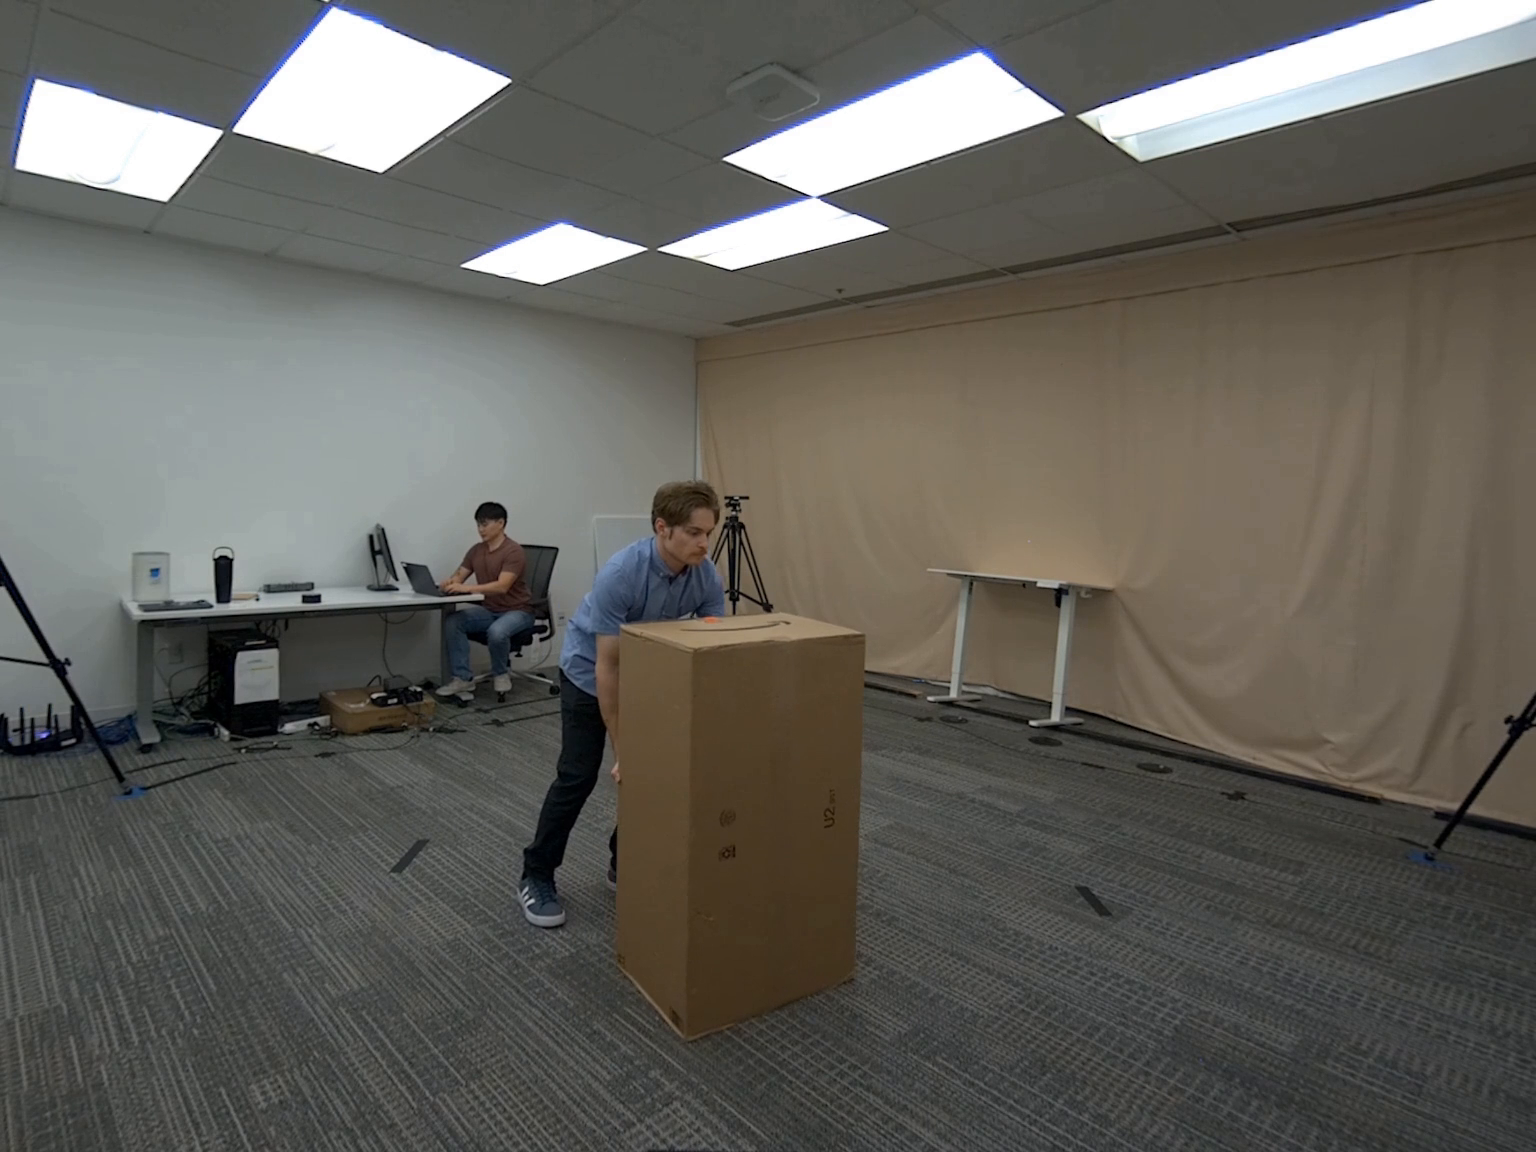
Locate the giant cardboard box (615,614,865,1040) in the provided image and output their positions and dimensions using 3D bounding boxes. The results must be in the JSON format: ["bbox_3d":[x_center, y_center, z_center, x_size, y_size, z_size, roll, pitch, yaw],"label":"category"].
[{"bbox_3d":[-0.089,0.659,2.437,0.565,1.023,0.437,-1,5,-34],"label":"giant cardboard box"}]
